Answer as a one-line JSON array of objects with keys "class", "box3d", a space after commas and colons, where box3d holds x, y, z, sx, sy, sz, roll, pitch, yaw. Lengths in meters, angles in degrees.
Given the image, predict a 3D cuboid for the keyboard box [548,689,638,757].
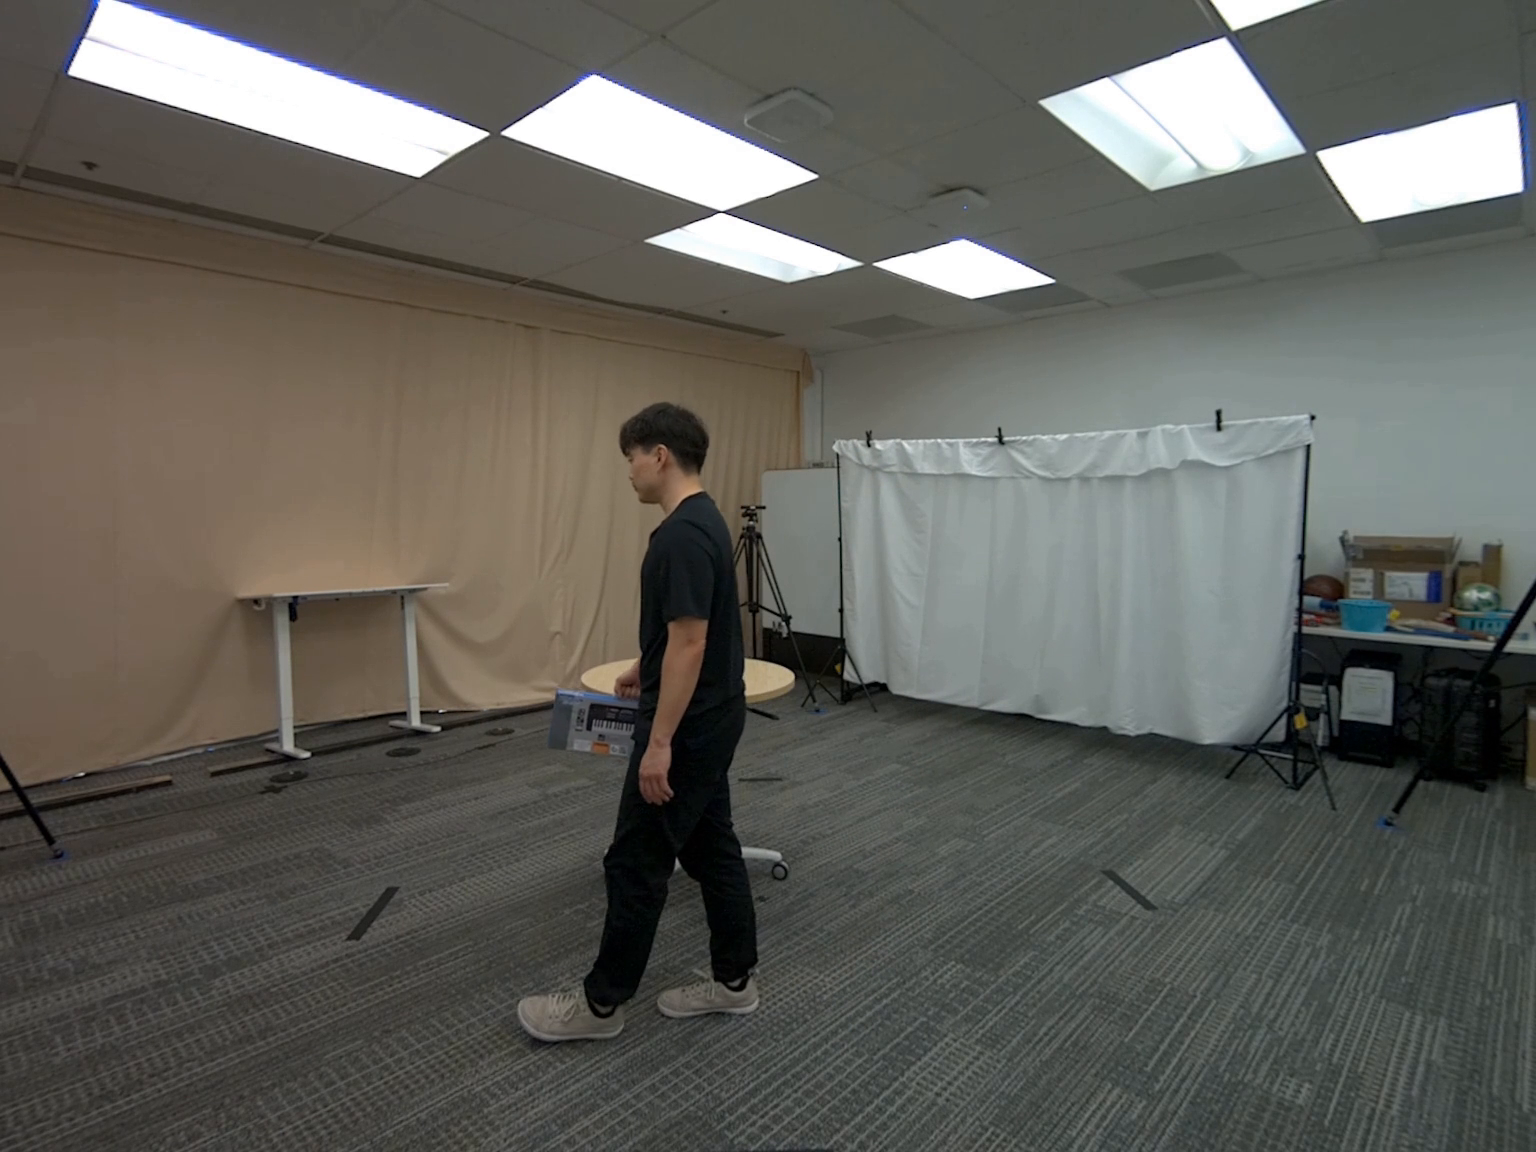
[{"class": "keyboard box", "box3d": [-0.440, 0.474, 2.562, 0.433, 0.175, 0.060, 7, 4, -8]}]
